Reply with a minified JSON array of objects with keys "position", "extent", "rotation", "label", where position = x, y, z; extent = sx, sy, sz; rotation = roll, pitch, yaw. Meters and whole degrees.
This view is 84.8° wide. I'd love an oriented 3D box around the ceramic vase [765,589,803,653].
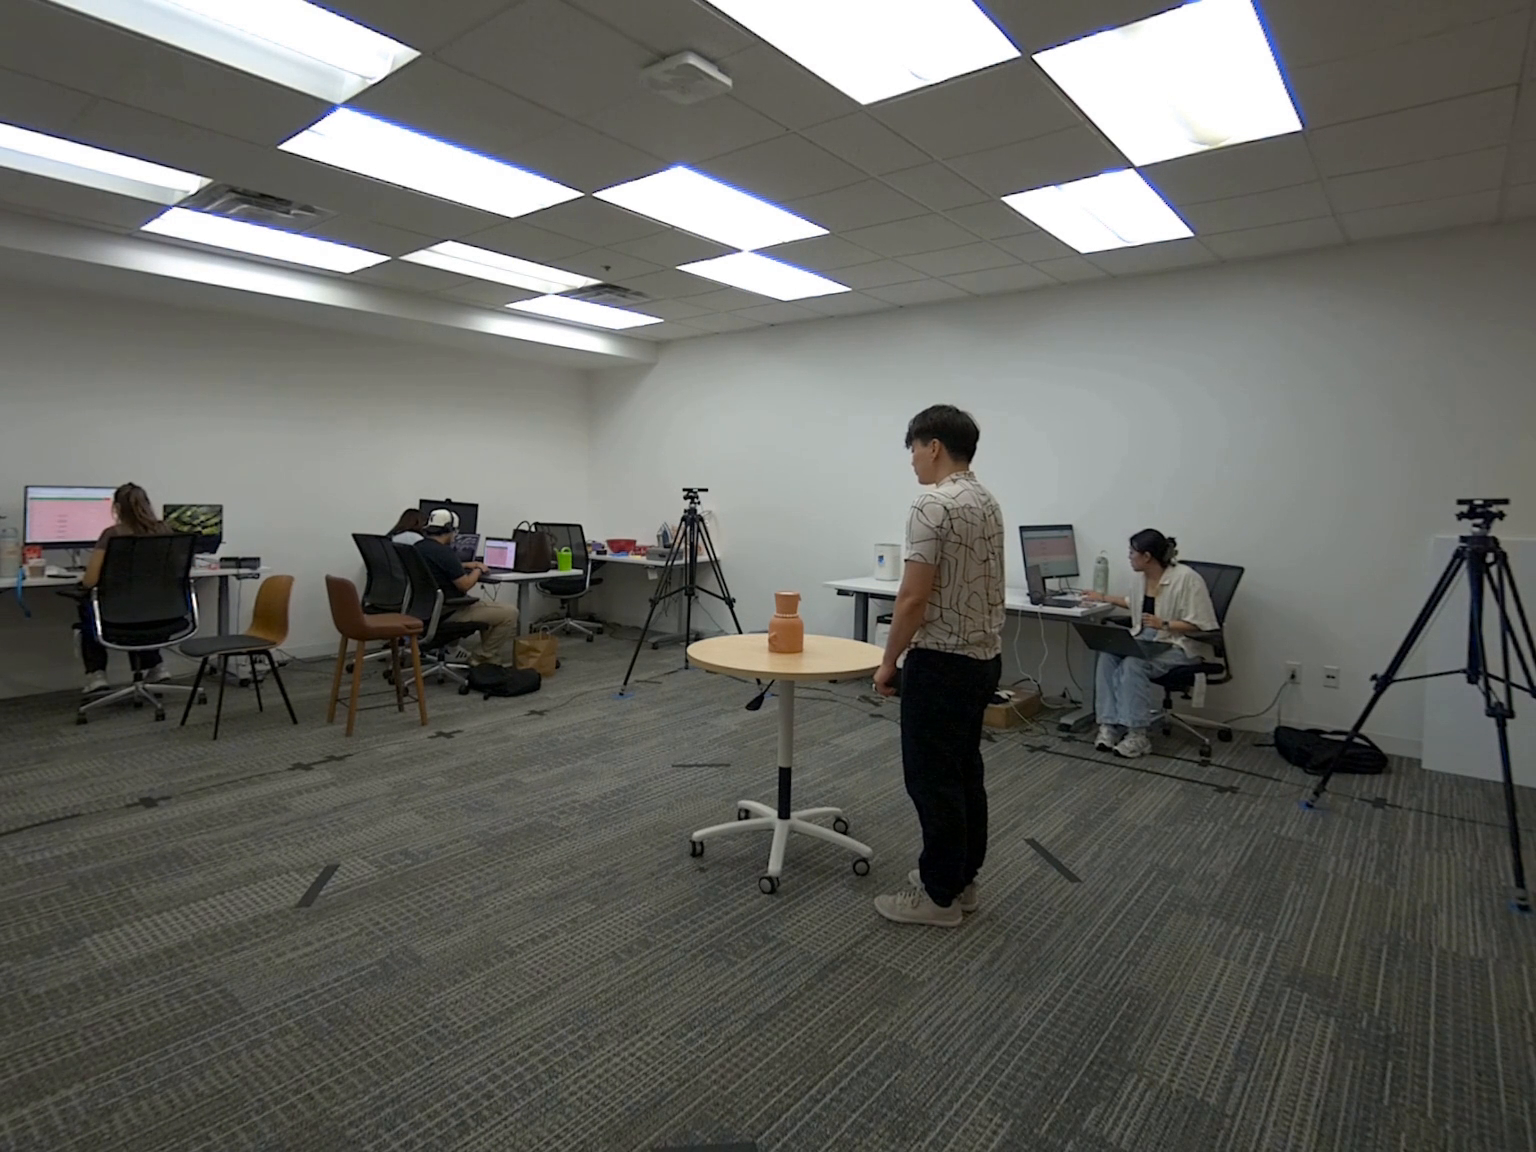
[{"position":[0.060,0.168,3.223],"extent":[0.135,0.219,0.159],"rotation":[-1,4,2],"label":"ceramic vase"}]
